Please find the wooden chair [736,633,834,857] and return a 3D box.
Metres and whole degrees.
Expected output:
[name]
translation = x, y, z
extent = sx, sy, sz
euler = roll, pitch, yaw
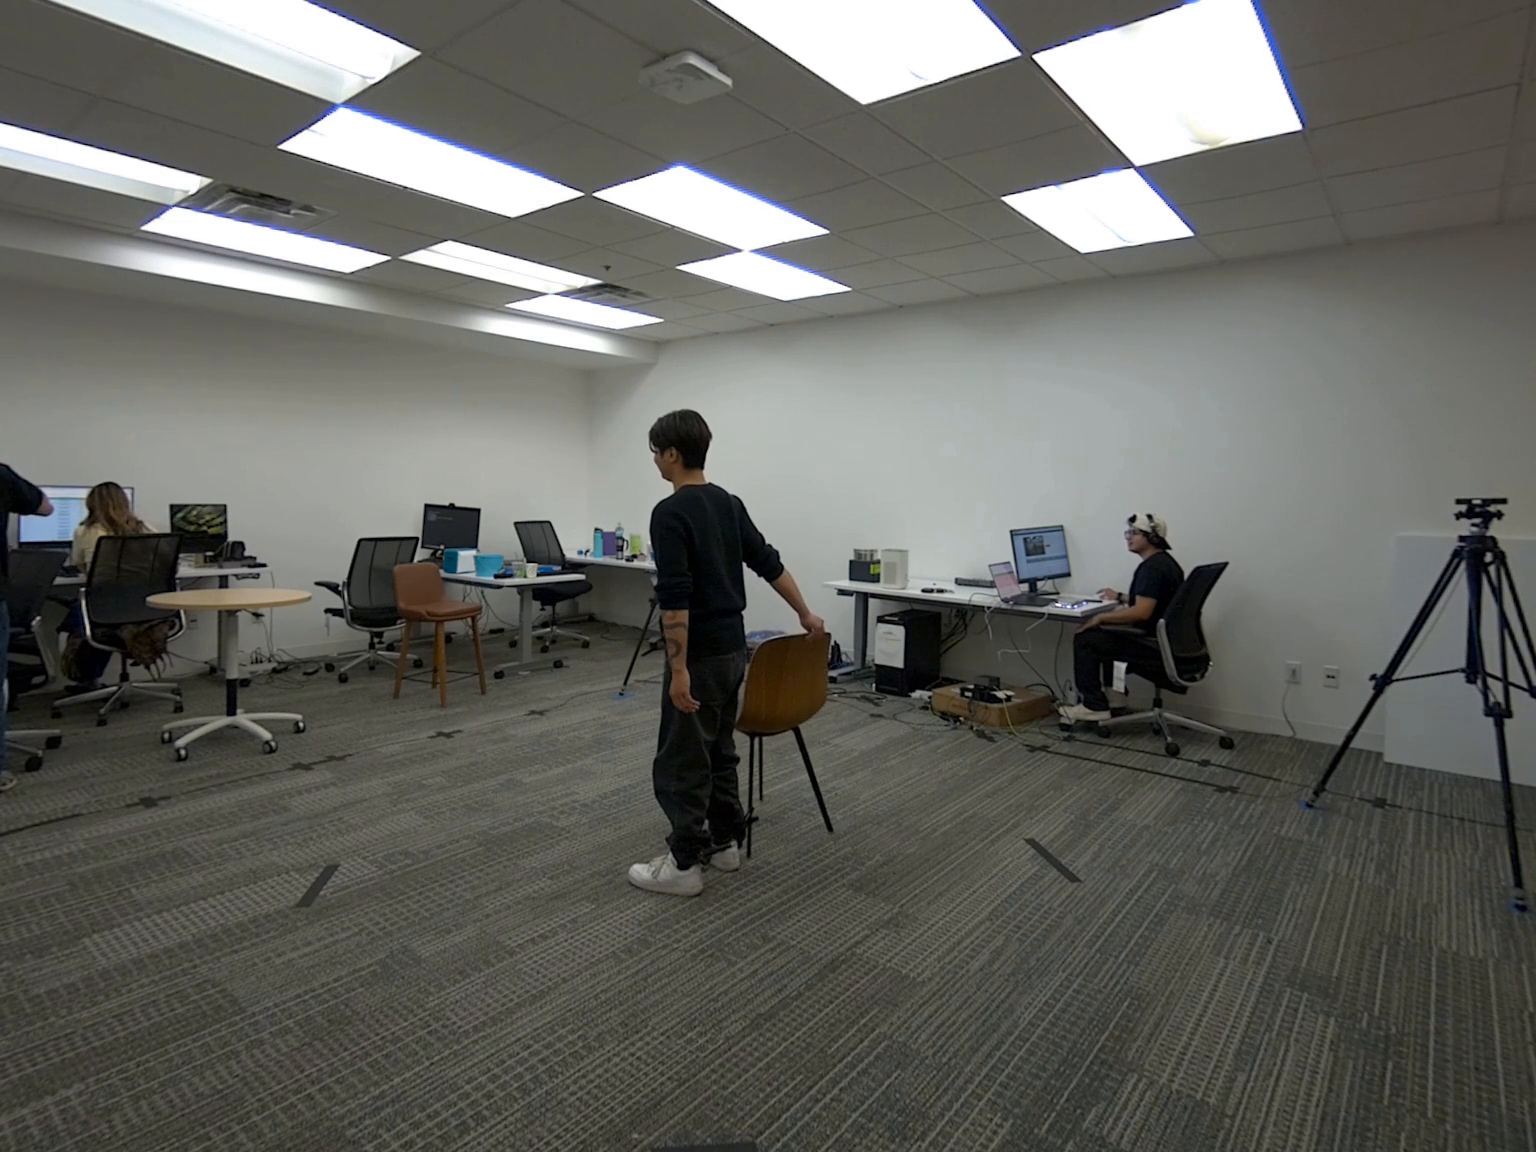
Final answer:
[wooden chair]
translation = -0.056, 0.606, 3.504
extent = 0.464, 0.872, 0.542
euler = -2, 9, -39
